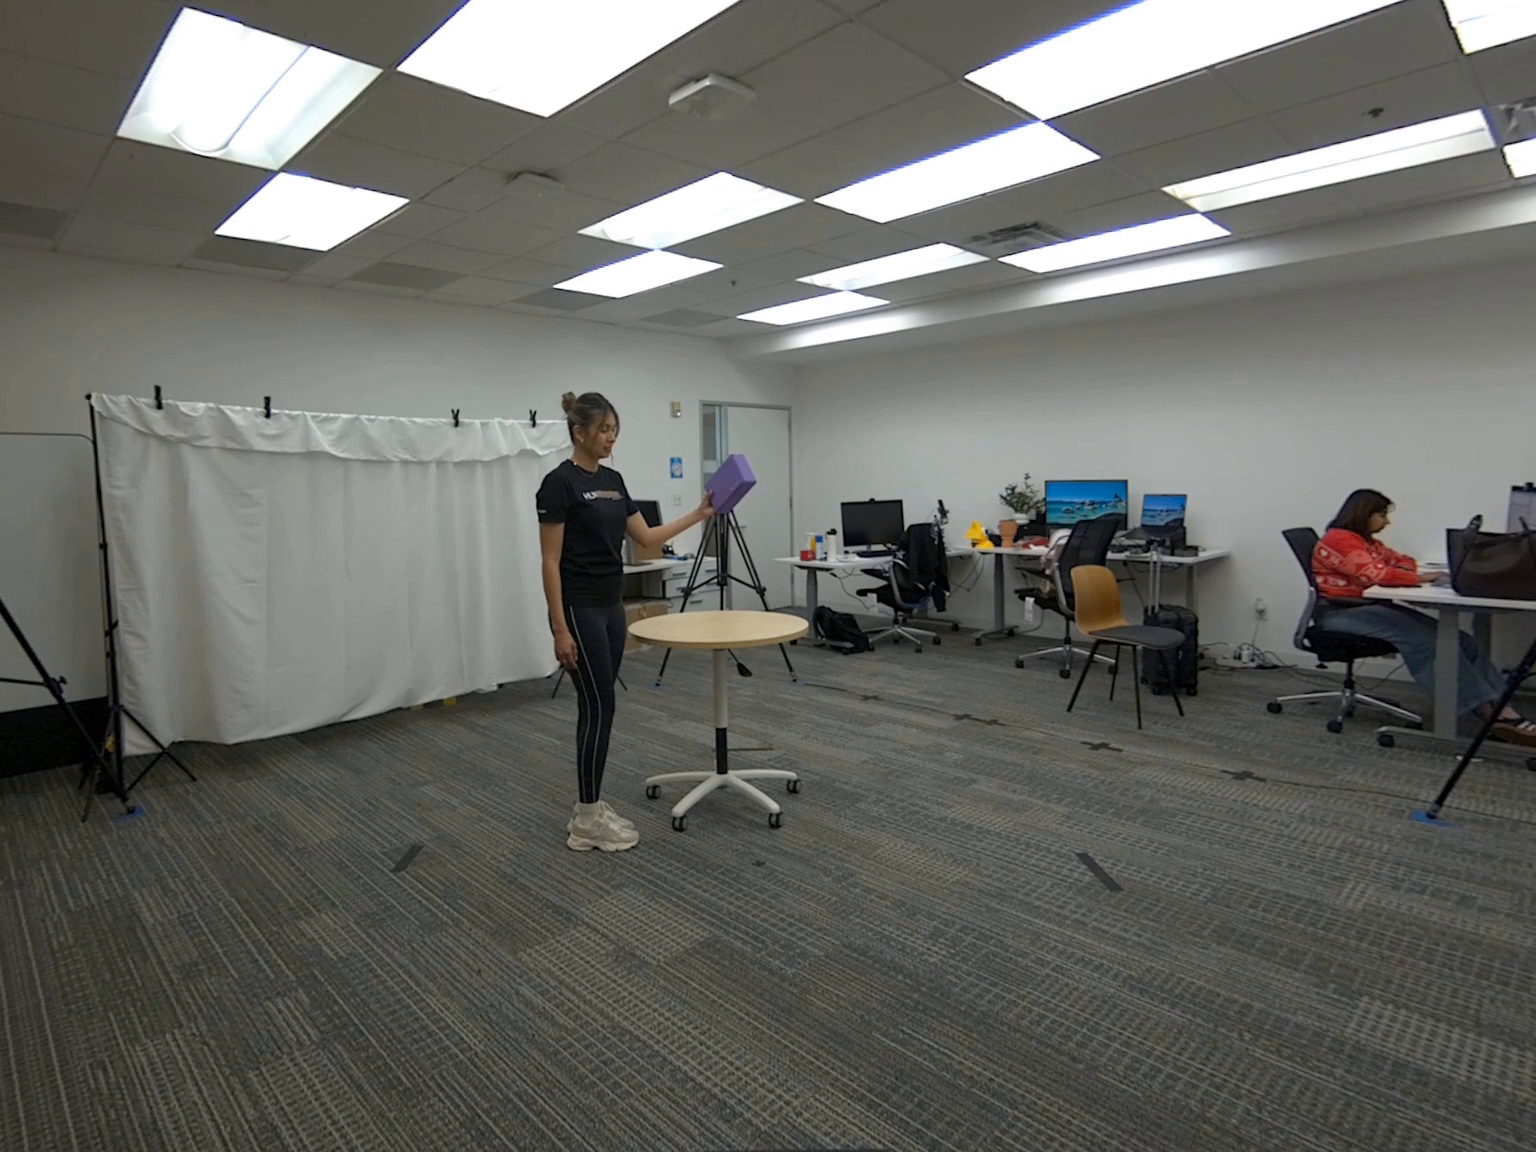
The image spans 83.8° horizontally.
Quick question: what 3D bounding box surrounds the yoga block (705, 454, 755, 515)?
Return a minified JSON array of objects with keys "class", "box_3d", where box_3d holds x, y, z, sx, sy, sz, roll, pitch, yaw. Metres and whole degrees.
[{"class":"yoga block","box_3d":[-0.158,-0.367,3.498,0.074,0.153,0.229,-5,-28,-40]}]
